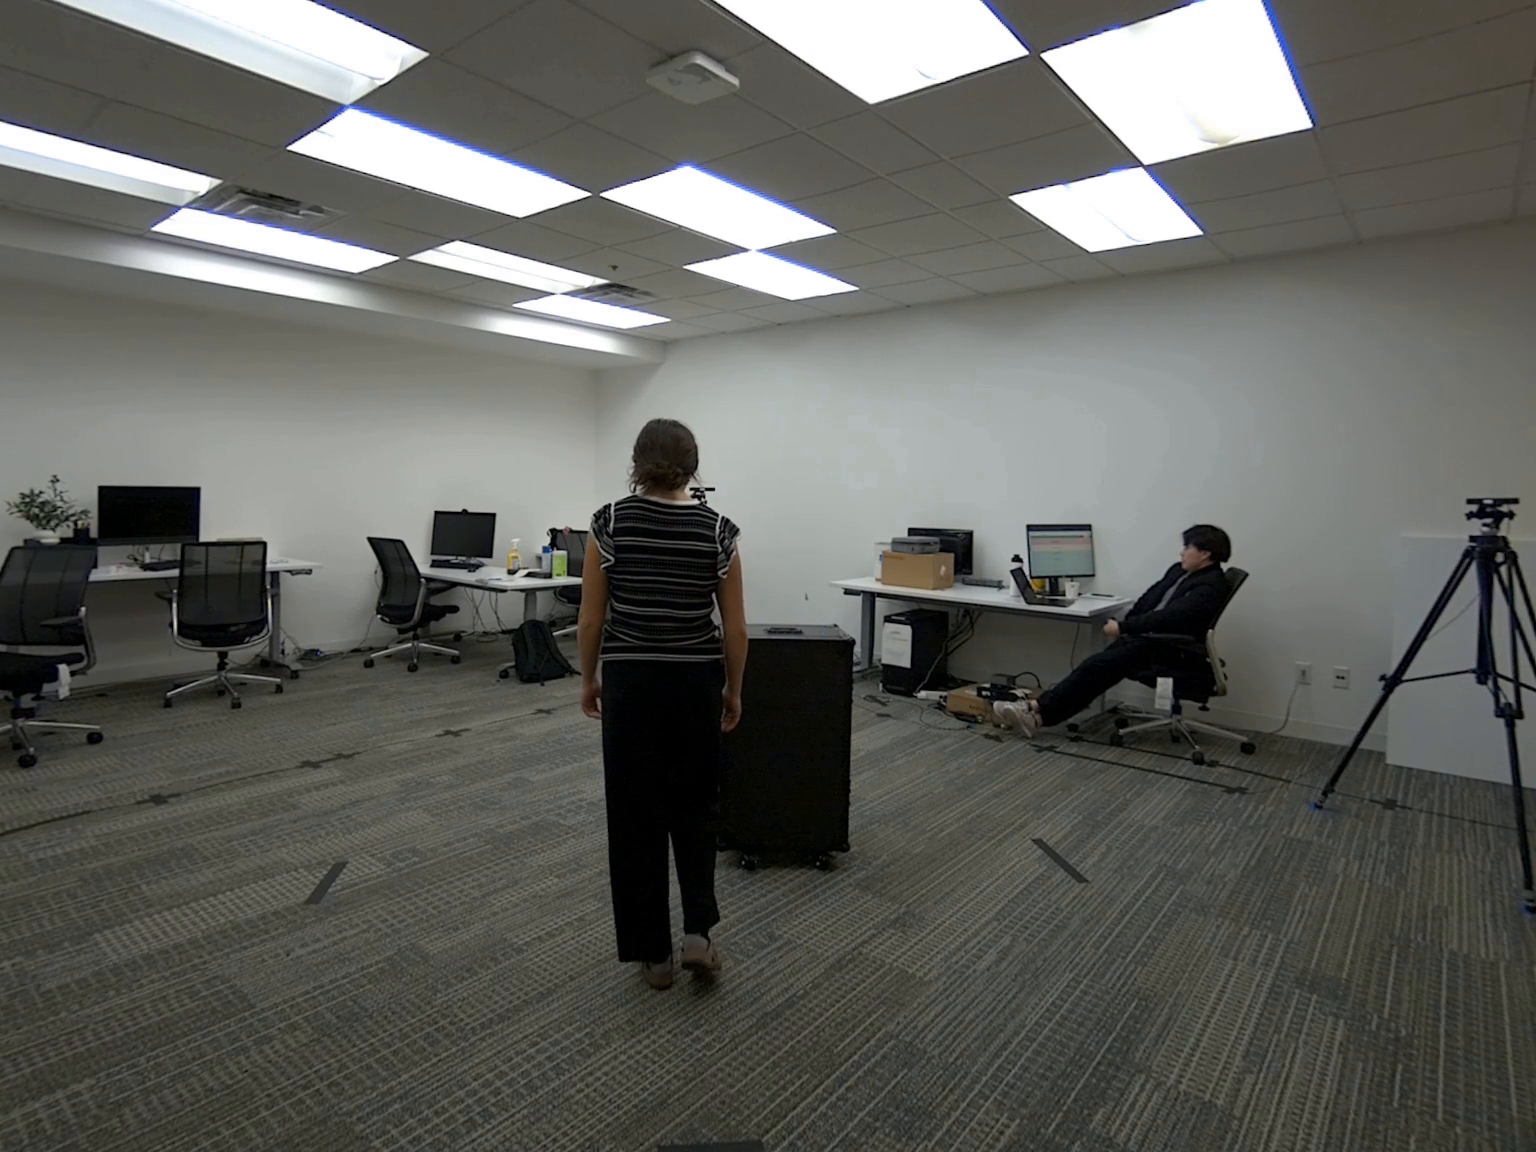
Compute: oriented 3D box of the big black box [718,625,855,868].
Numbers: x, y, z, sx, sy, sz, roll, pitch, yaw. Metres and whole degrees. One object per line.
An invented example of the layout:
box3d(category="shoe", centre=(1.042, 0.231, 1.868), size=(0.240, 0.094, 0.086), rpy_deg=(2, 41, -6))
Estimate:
box3d(category="big black box", centre=(0.035, 0.632, 3.274), size=(0.520, 0.860, 0.398), rpy_deg=(1, 2, -3))
